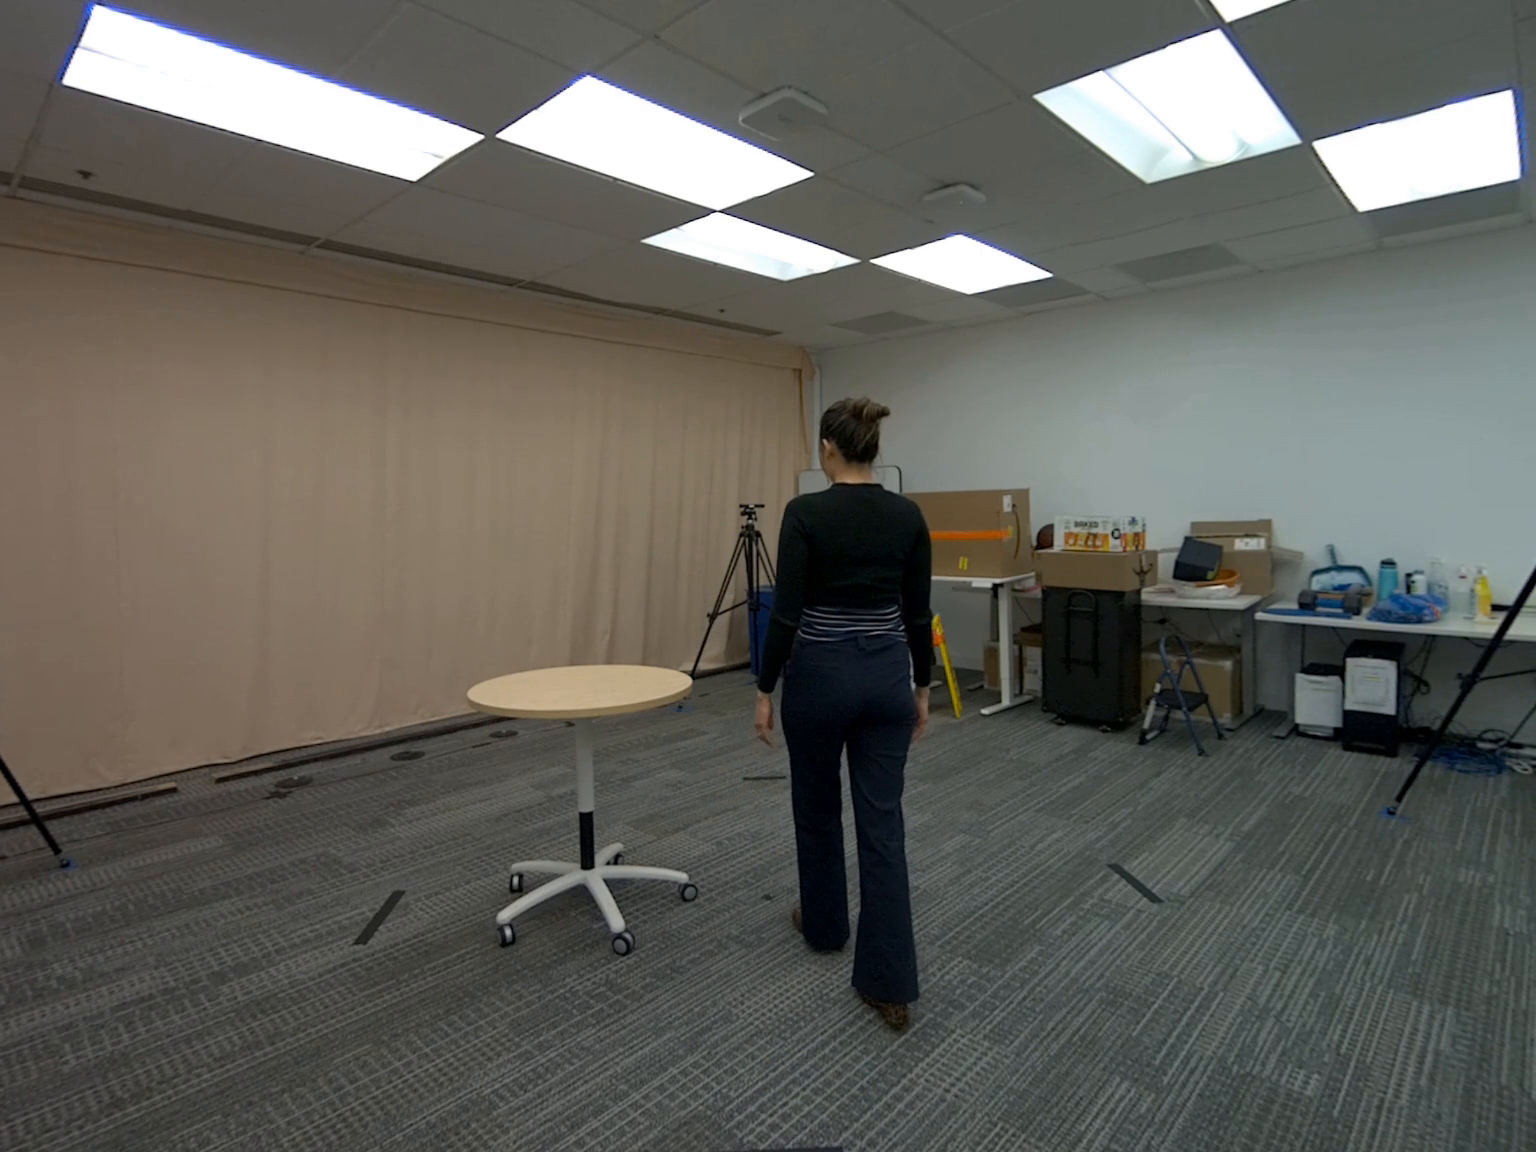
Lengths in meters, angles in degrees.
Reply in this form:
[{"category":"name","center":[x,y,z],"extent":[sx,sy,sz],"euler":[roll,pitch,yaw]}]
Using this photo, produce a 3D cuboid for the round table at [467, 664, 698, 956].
[{"category":"round table","center":[-0.632,0.772,2.923],"extent":[0.763,0.793,0.766],"euler":[-2,3,-2]}]
